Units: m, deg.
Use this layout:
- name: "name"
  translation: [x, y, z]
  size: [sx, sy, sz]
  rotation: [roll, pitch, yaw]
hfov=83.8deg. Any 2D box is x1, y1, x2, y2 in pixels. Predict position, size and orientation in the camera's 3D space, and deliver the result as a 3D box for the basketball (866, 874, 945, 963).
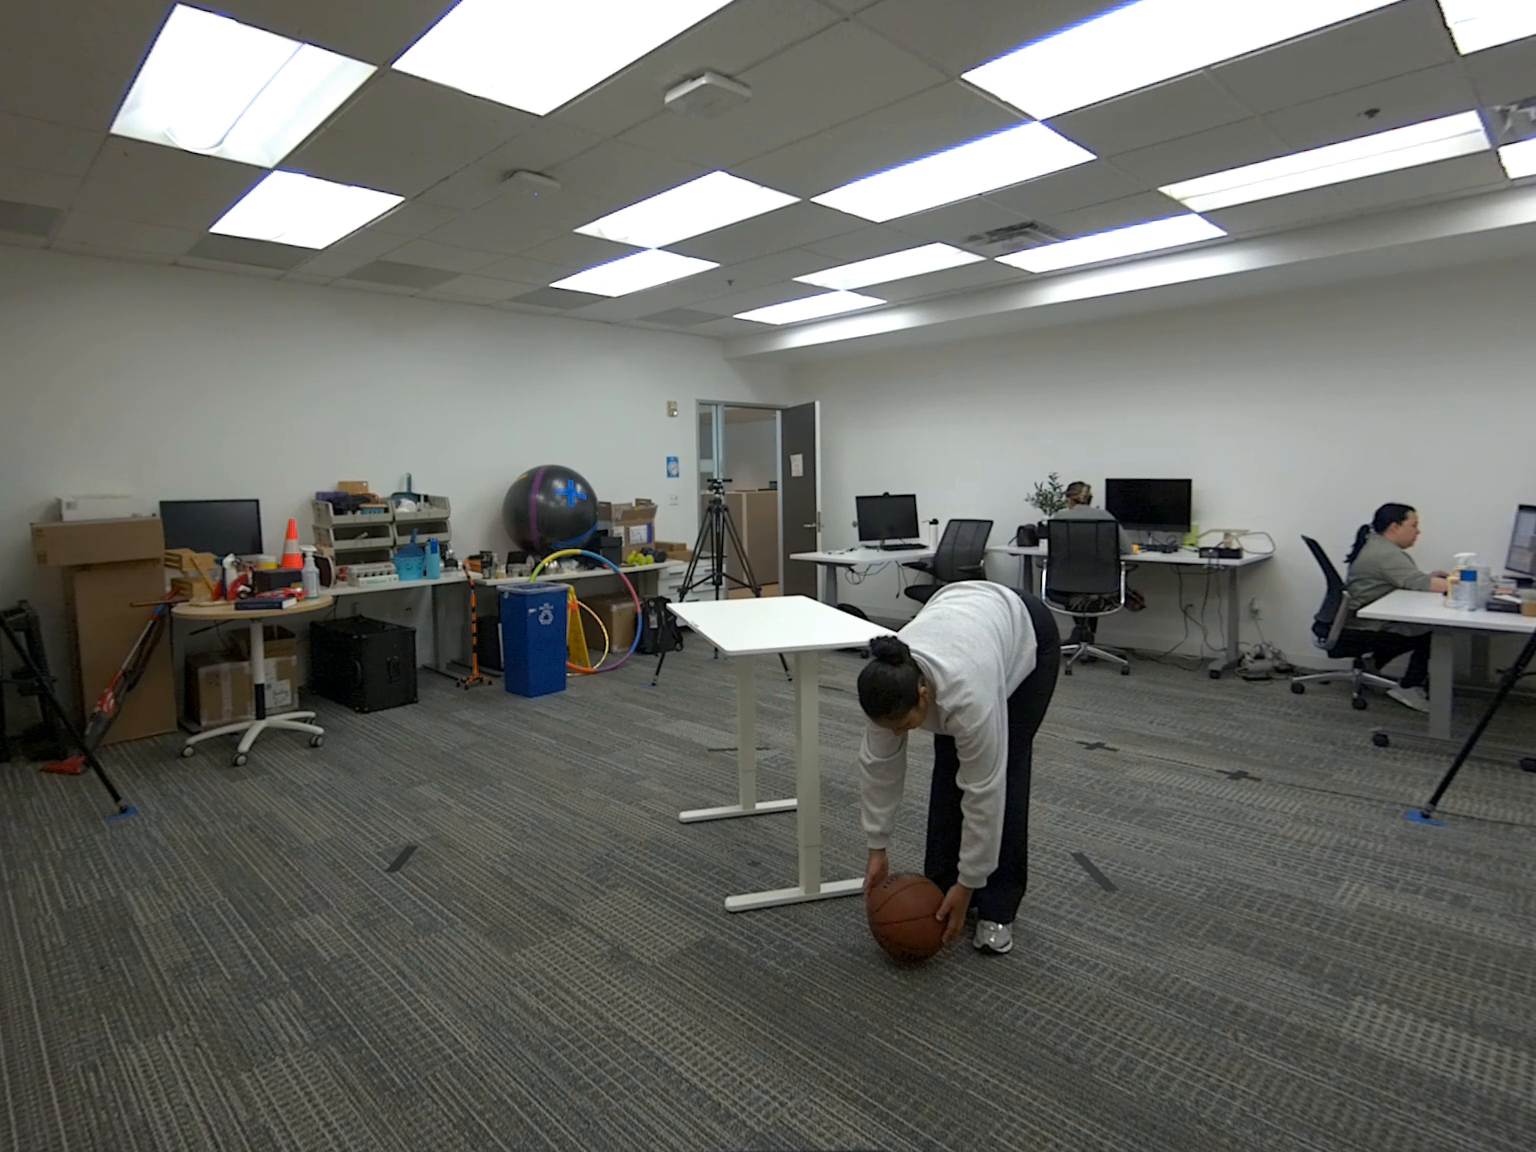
- name: "basketball"
  translation: [0.418, 0.972, 2.483]
  size: [0.236, 0.235, 0.237]
  rotation: [-1, 5, -2]
